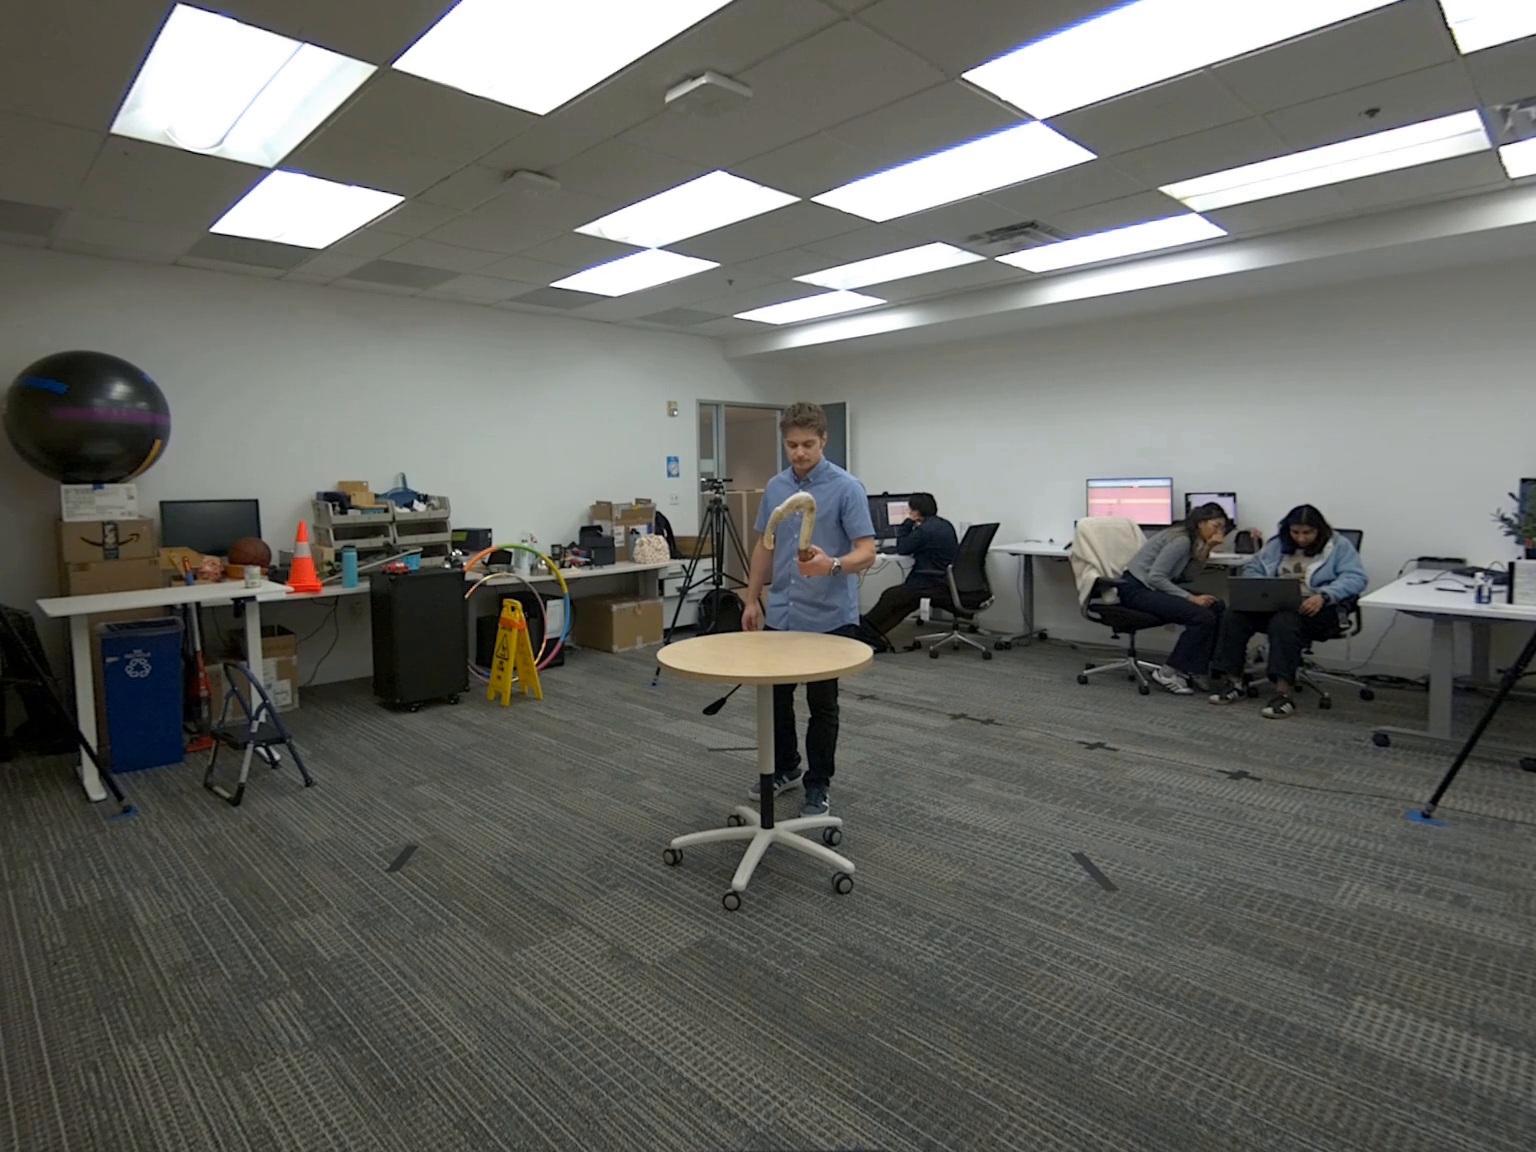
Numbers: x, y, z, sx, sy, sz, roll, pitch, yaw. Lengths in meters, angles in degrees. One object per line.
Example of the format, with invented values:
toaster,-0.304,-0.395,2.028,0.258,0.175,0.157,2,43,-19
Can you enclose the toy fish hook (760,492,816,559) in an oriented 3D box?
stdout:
toy fish hook,0.071,-0.112,3.041,0.223,0.050,0.491,-33,-32,-14
